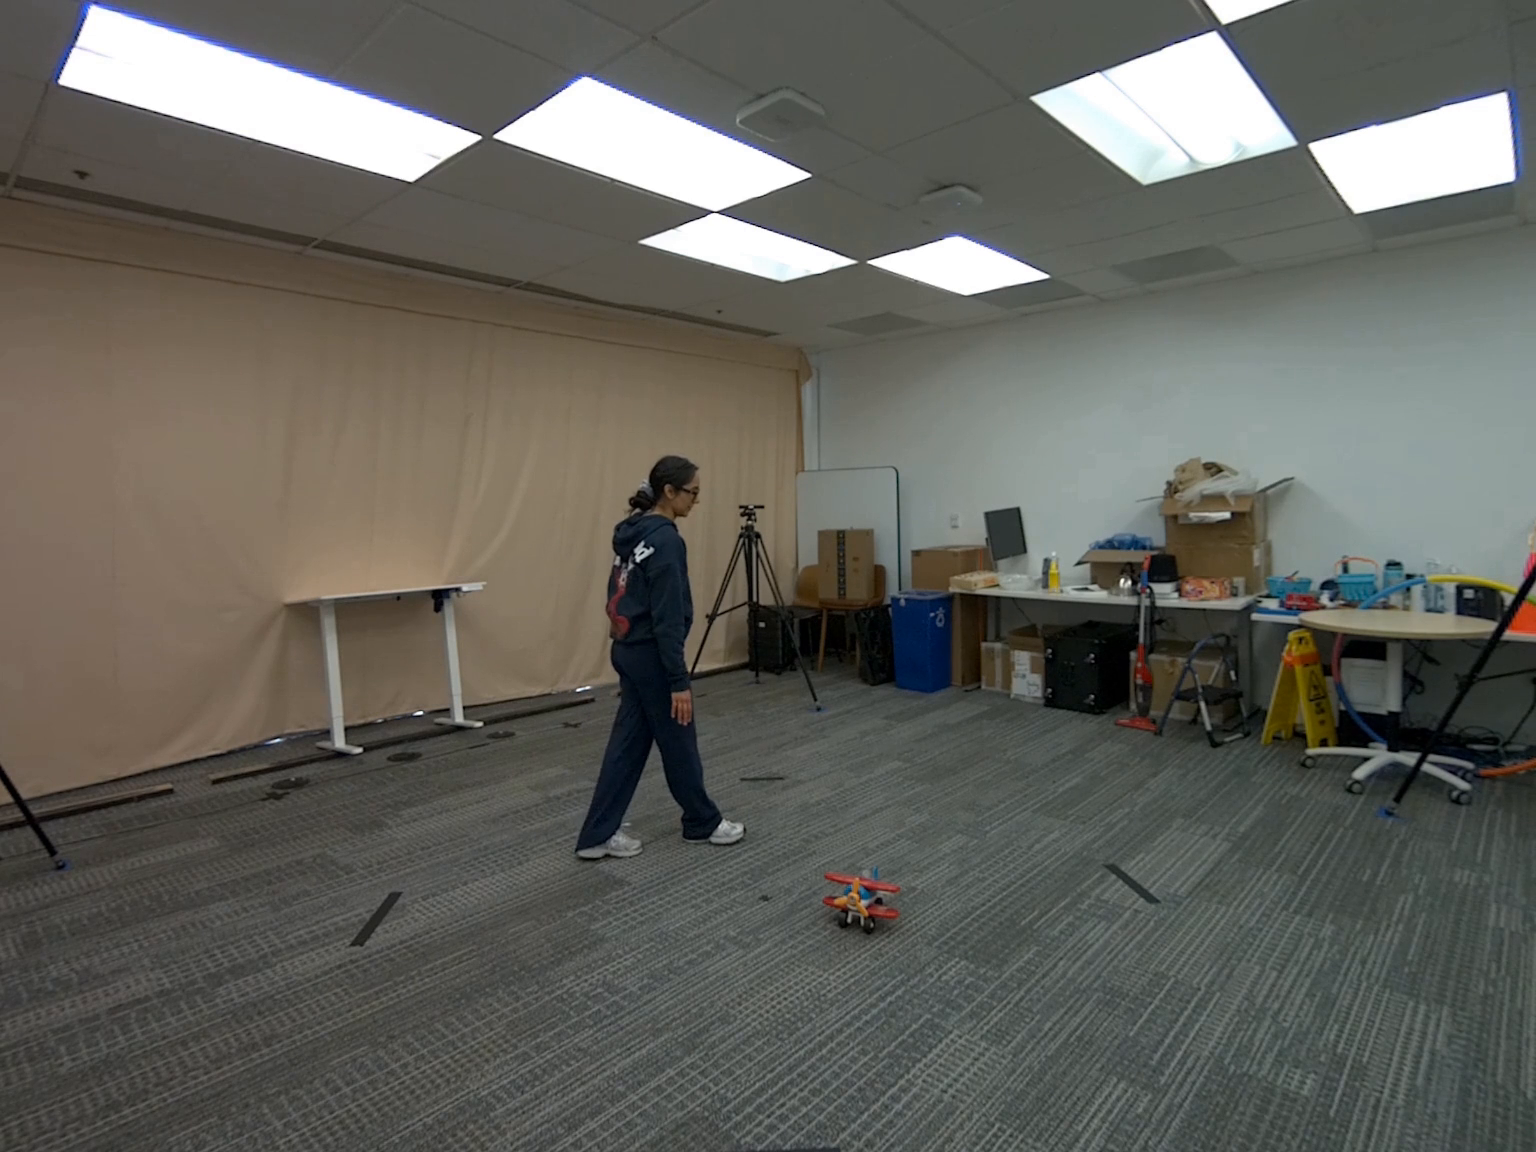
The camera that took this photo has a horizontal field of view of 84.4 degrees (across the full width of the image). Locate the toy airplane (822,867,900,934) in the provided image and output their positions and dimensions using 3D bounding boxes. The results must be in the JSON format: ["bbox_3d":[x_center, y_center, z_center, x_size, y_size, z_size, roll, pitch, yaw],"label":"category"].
[{"bbox_3d":[0.311,1.074,2.825,0.250,0.156,0.260,0,4,-3],"label":"toy airplane"}]
